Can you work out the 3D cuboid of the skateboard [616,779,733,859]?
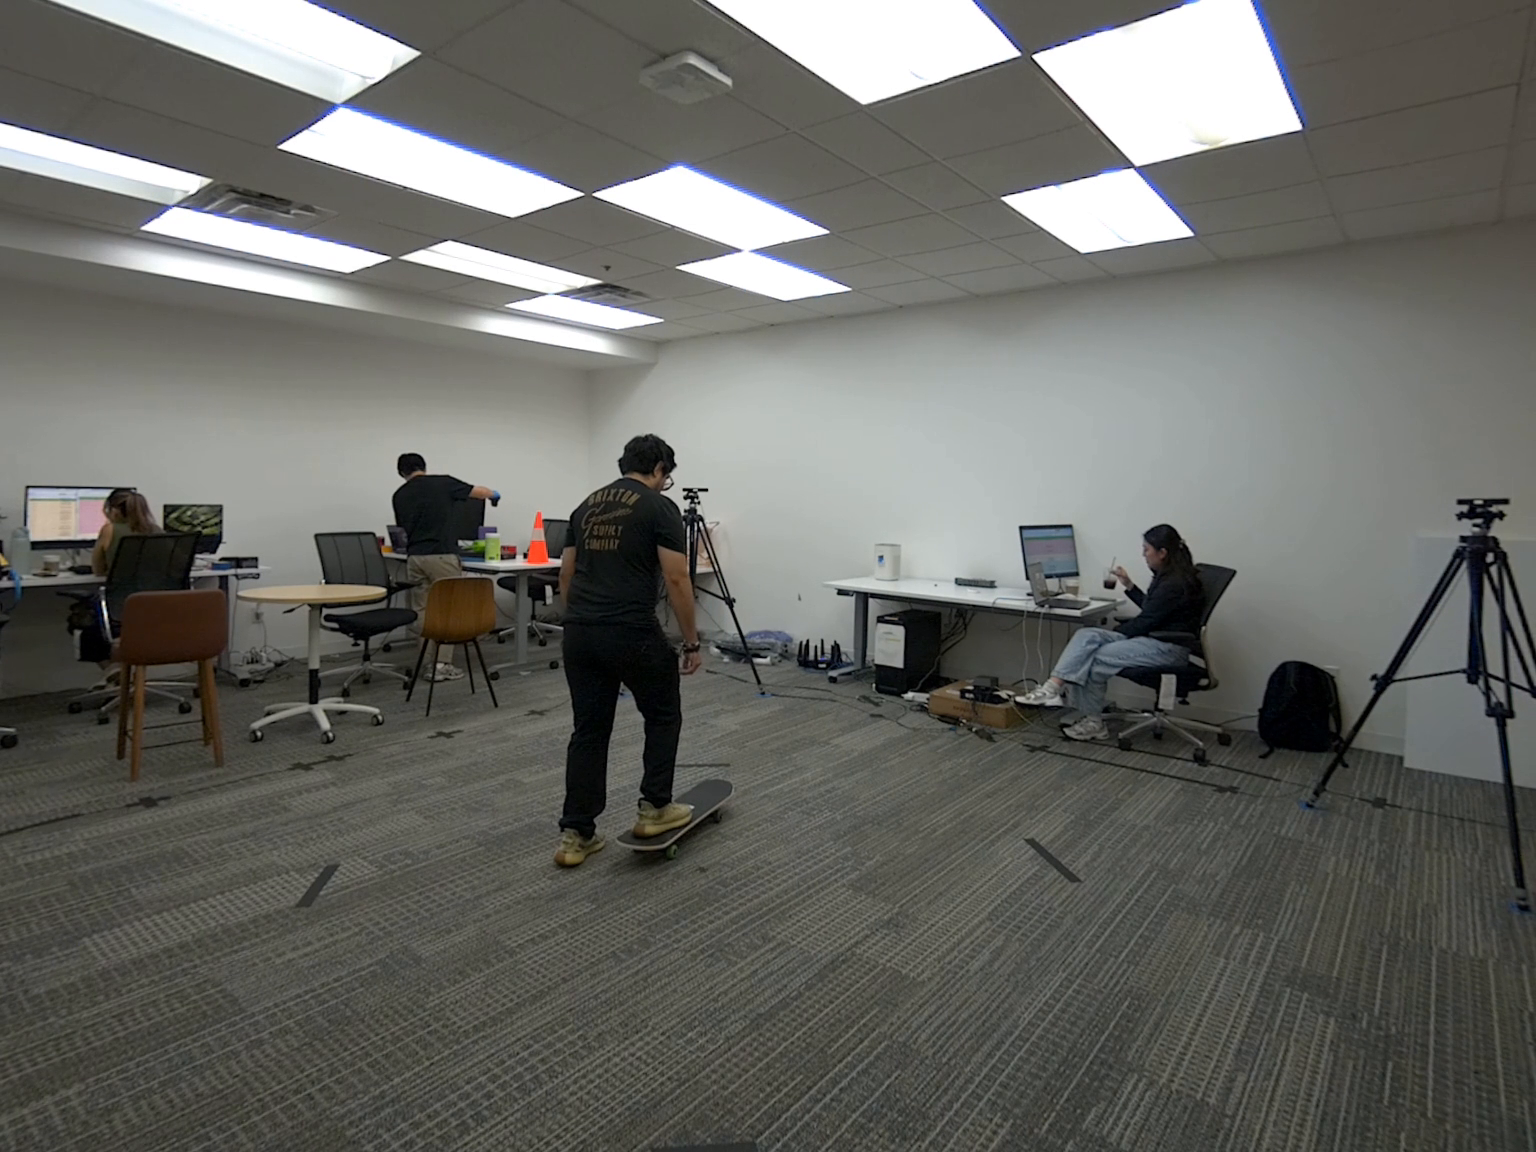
[{"bbox_3d":[-0.367,0.986,3.414,0.198,0.110,0.769,1,6,23],"label":"skateboard"}]
